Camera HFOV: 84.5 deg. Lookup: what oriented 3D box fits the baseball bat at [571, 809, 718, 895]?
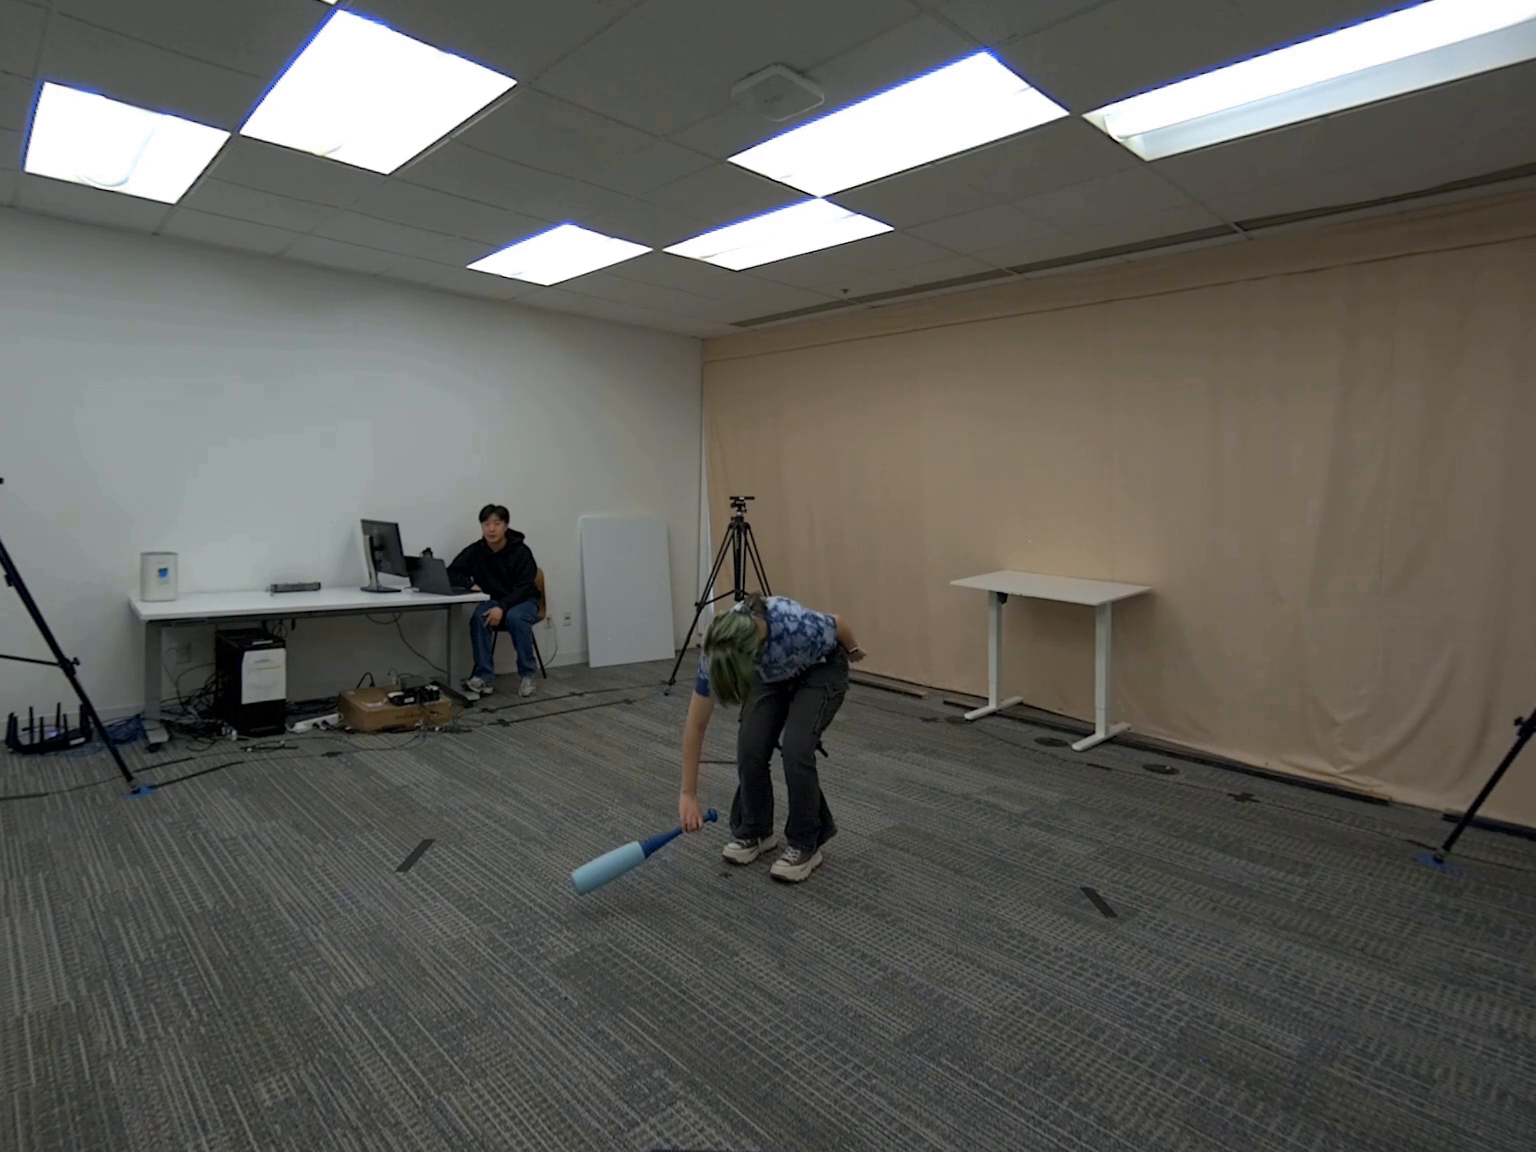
[{"bbox_3d":[-0.427,0.933,2.885,0.537,0.088,0.091,-20,13,-23],"label":"baseball bat"}]
